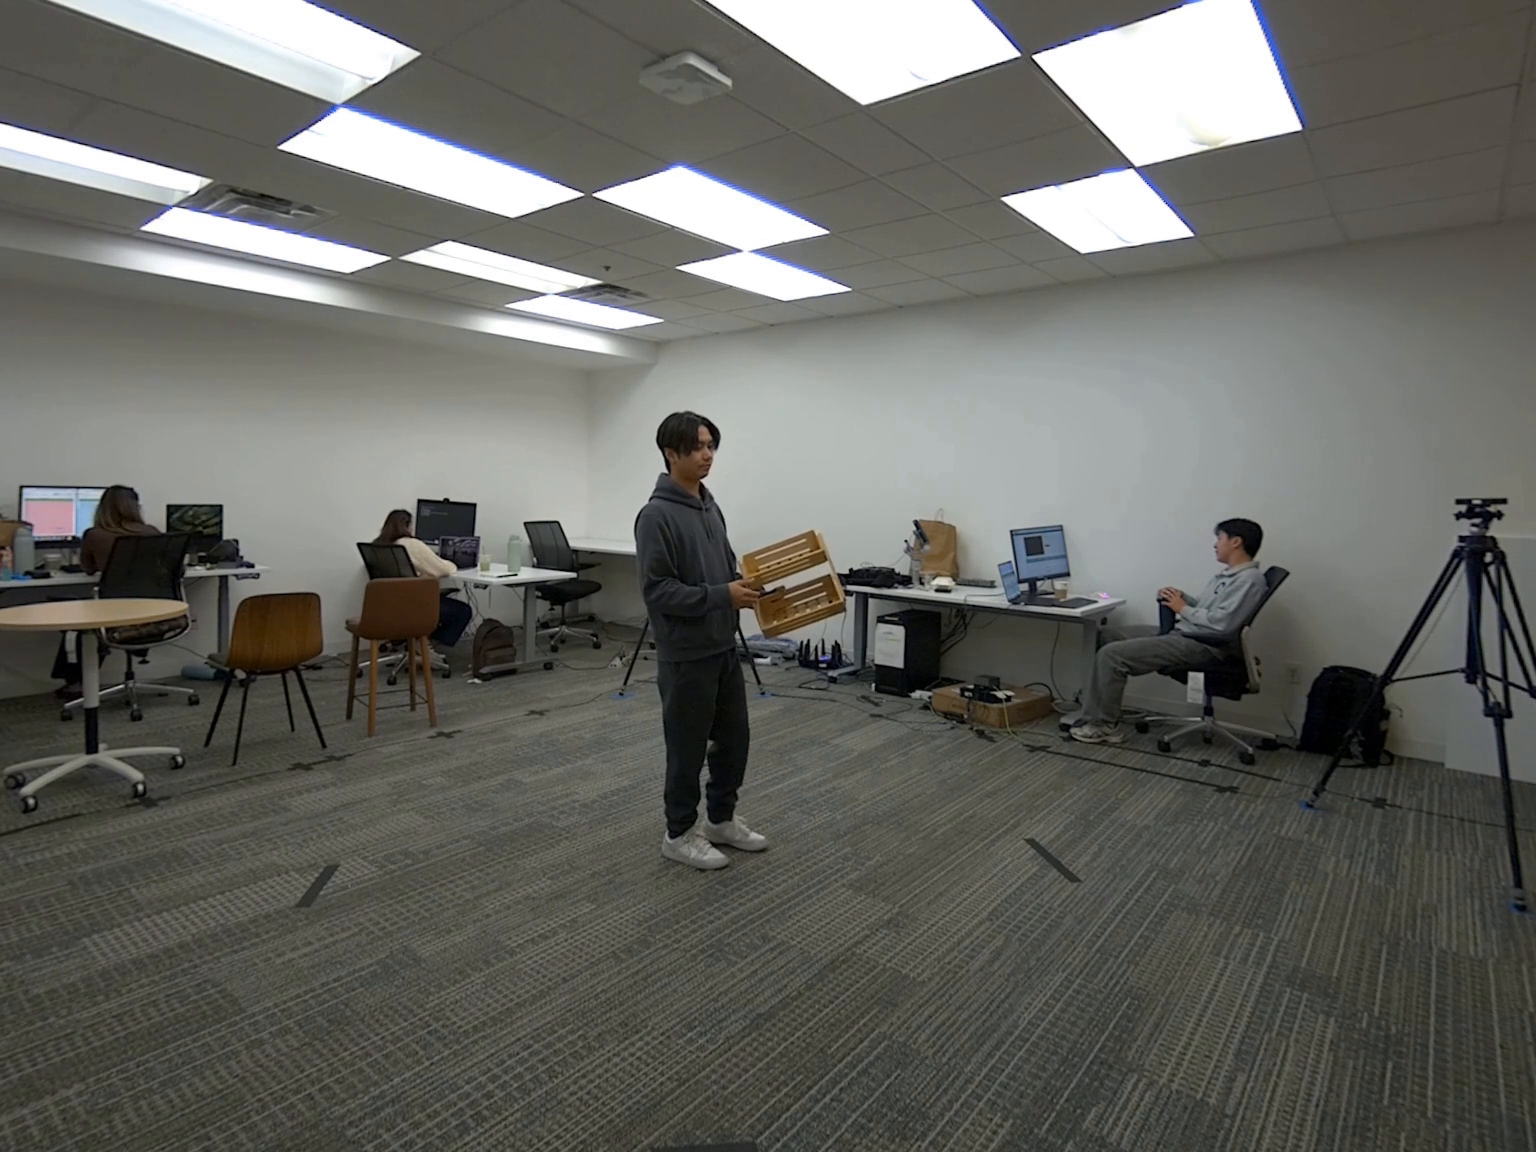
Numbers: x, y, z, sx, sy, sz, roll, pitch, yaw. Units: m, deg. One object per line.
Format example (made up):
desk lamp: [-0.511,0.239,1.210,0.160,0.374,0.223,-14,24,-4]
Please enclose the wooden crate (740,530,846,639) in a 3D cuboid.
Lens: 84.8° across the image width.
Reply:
wooden crate: [0.075,0.021,3.052,0.325,0.270,0.305,-21,12,5]
